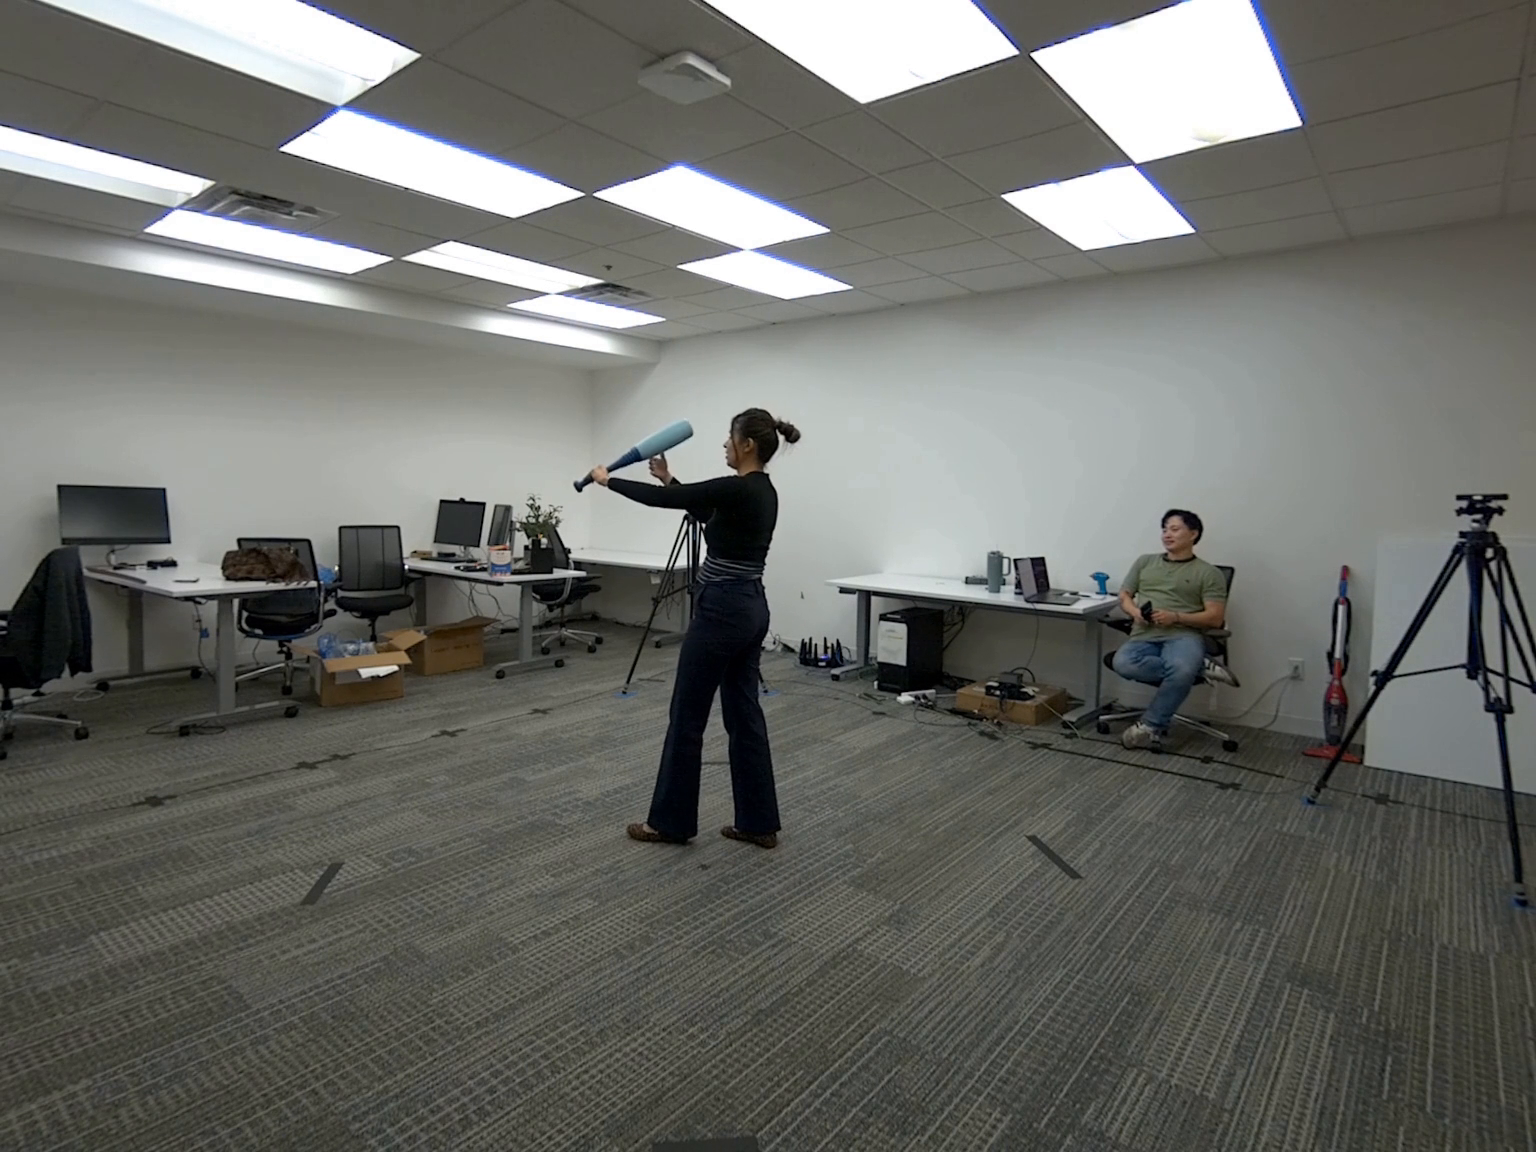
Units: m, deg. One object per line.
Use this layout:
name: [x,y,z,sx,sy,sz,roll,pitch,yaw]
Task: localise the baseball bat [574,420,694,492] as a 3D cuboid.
baseball bat: [-0.559,-0.486,3.462,0.539,0.087,0.091,-32,14,-15]
